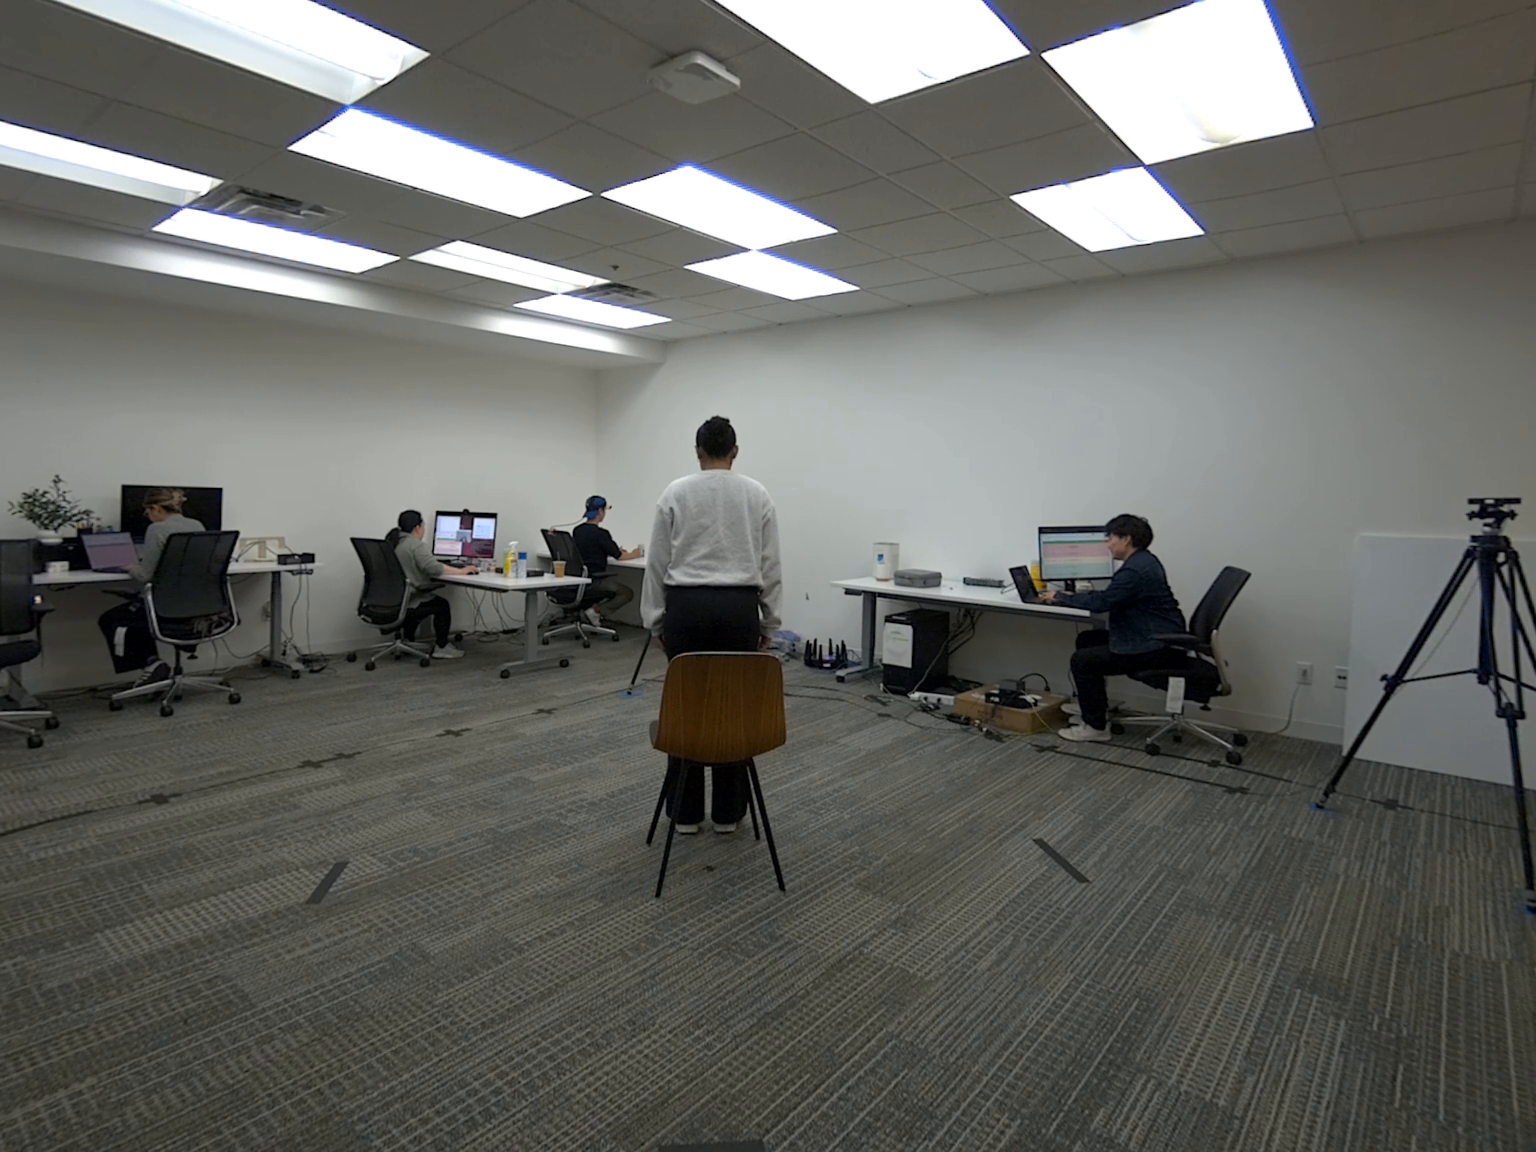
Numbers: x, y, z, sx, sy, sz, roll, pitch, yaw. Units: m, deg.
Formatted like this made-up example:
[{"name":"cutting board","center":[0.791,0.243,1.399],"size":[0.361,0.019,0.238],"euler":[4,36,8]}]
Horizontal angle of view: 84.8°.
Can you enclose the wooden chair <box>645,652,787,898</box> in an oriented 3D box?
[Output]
[{"name":"wooden chair","center":[-0.211,0.634,3.106],"size":[0.473,0.872,0.533],"euler":[0,7,-11]}]
